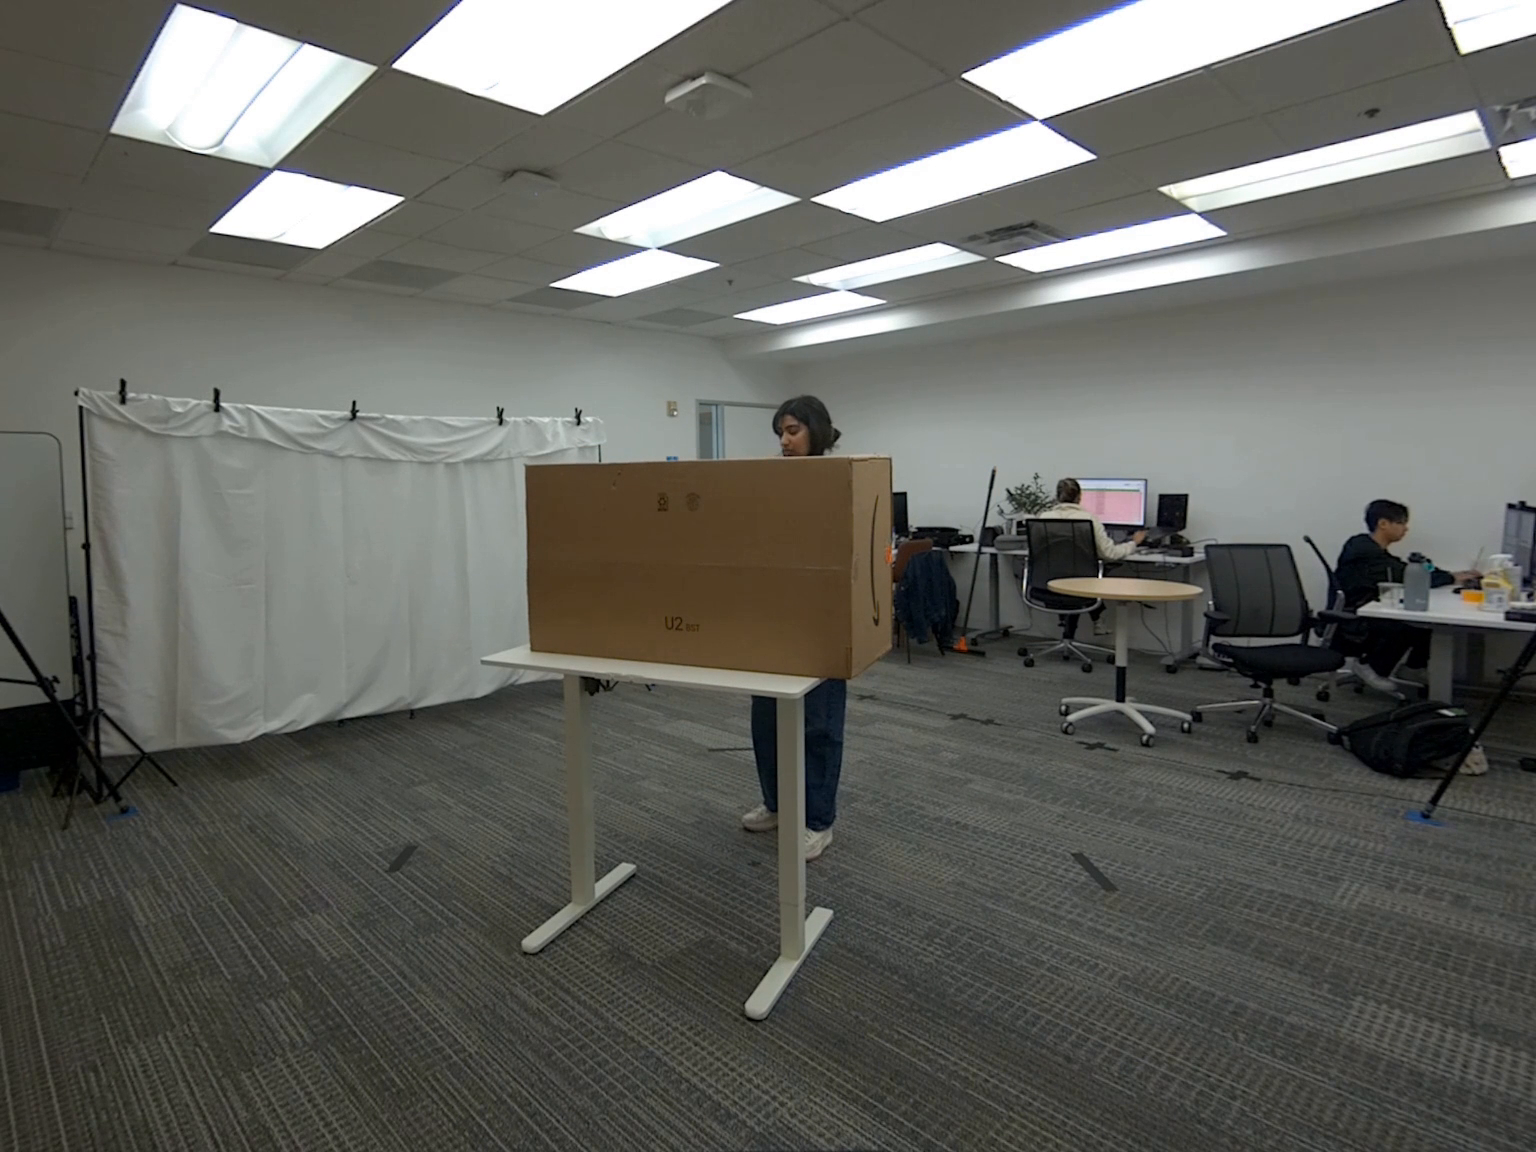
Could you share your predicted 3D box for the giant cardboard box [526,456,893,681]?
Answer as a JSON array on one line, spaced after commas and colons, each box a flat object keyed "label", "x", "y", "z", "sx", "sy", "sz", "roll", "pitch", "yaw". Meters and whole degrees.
[{"label": "giant cardboard box", "x": -0.189, "y": -0.058, "z": 2.569, "sx": 1.050, "sy": 0.575, "sz": 0.418, "roll": 2, "pitch": 6, "yaw": 25}]
